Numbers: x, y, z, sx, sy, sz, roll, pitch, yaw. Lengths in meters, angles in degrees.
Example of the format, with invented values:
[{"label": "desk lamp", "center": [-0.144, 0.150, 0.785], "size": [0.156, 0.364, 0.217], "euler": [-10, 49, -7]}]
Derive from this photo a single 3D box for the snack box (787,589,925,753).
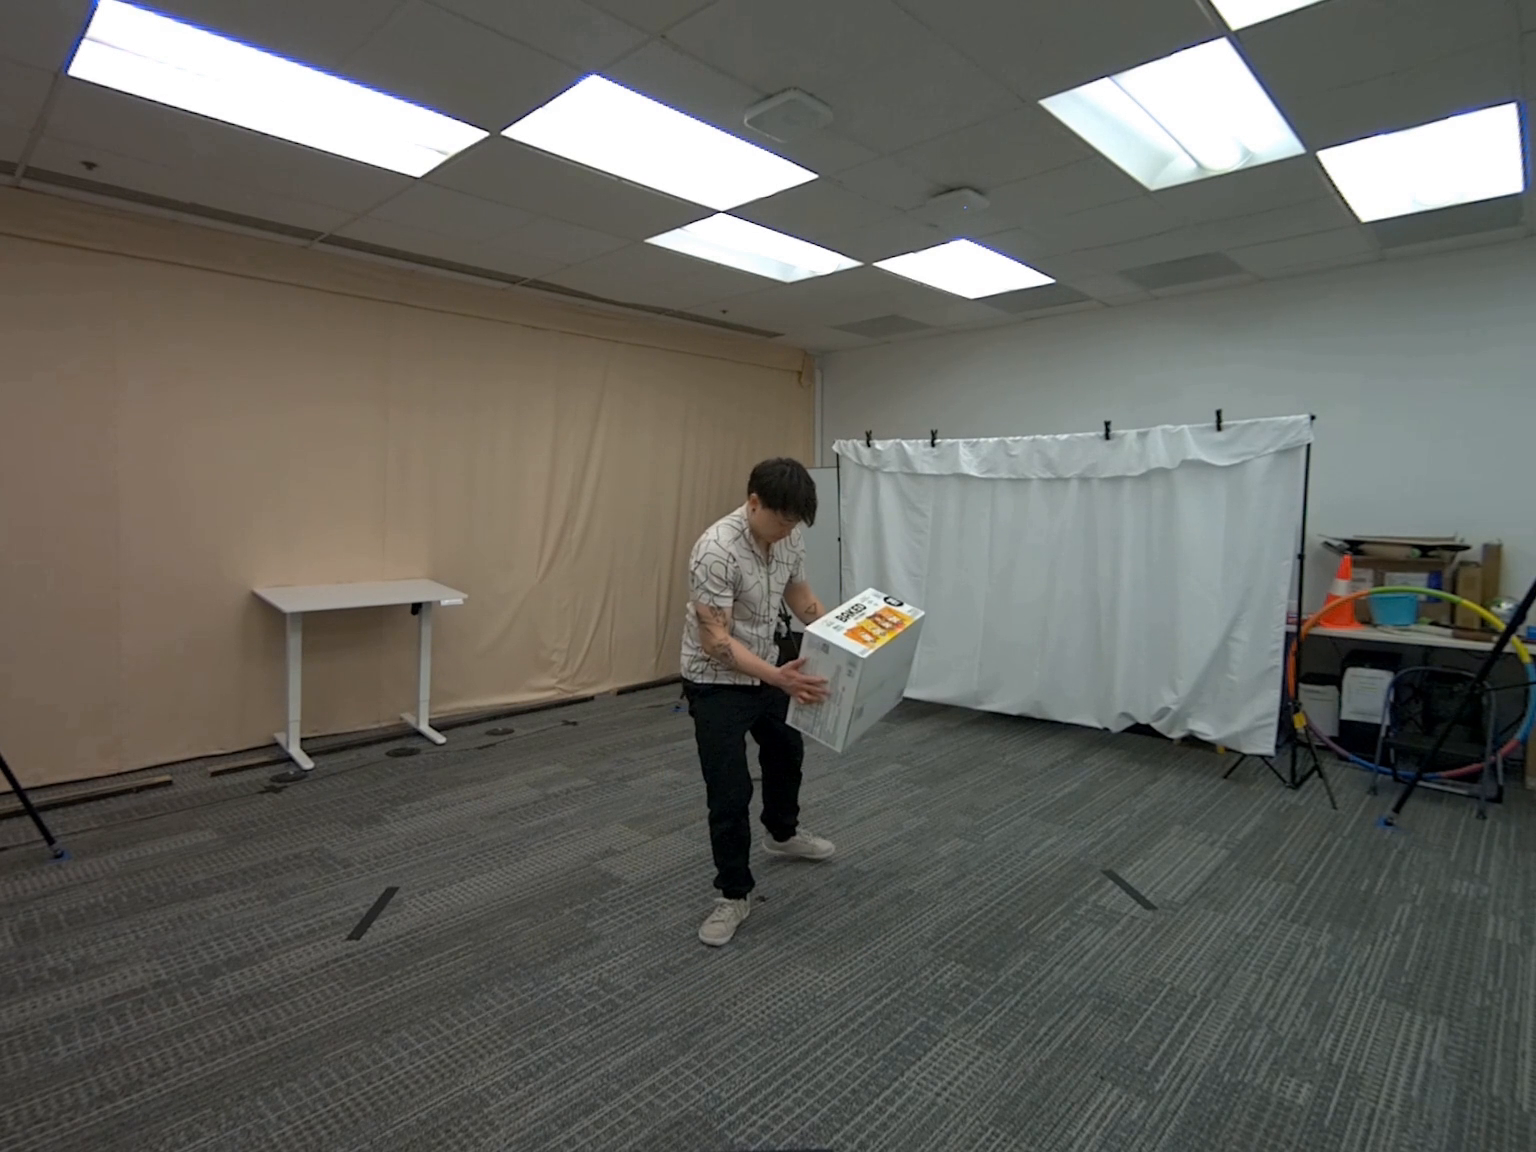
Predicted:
[{"label": "snack box", "center": [0.279, 0.284, 2.603], "size": [0.212, 0.337, 0.396], "euler": [24, 29, 29]}]
